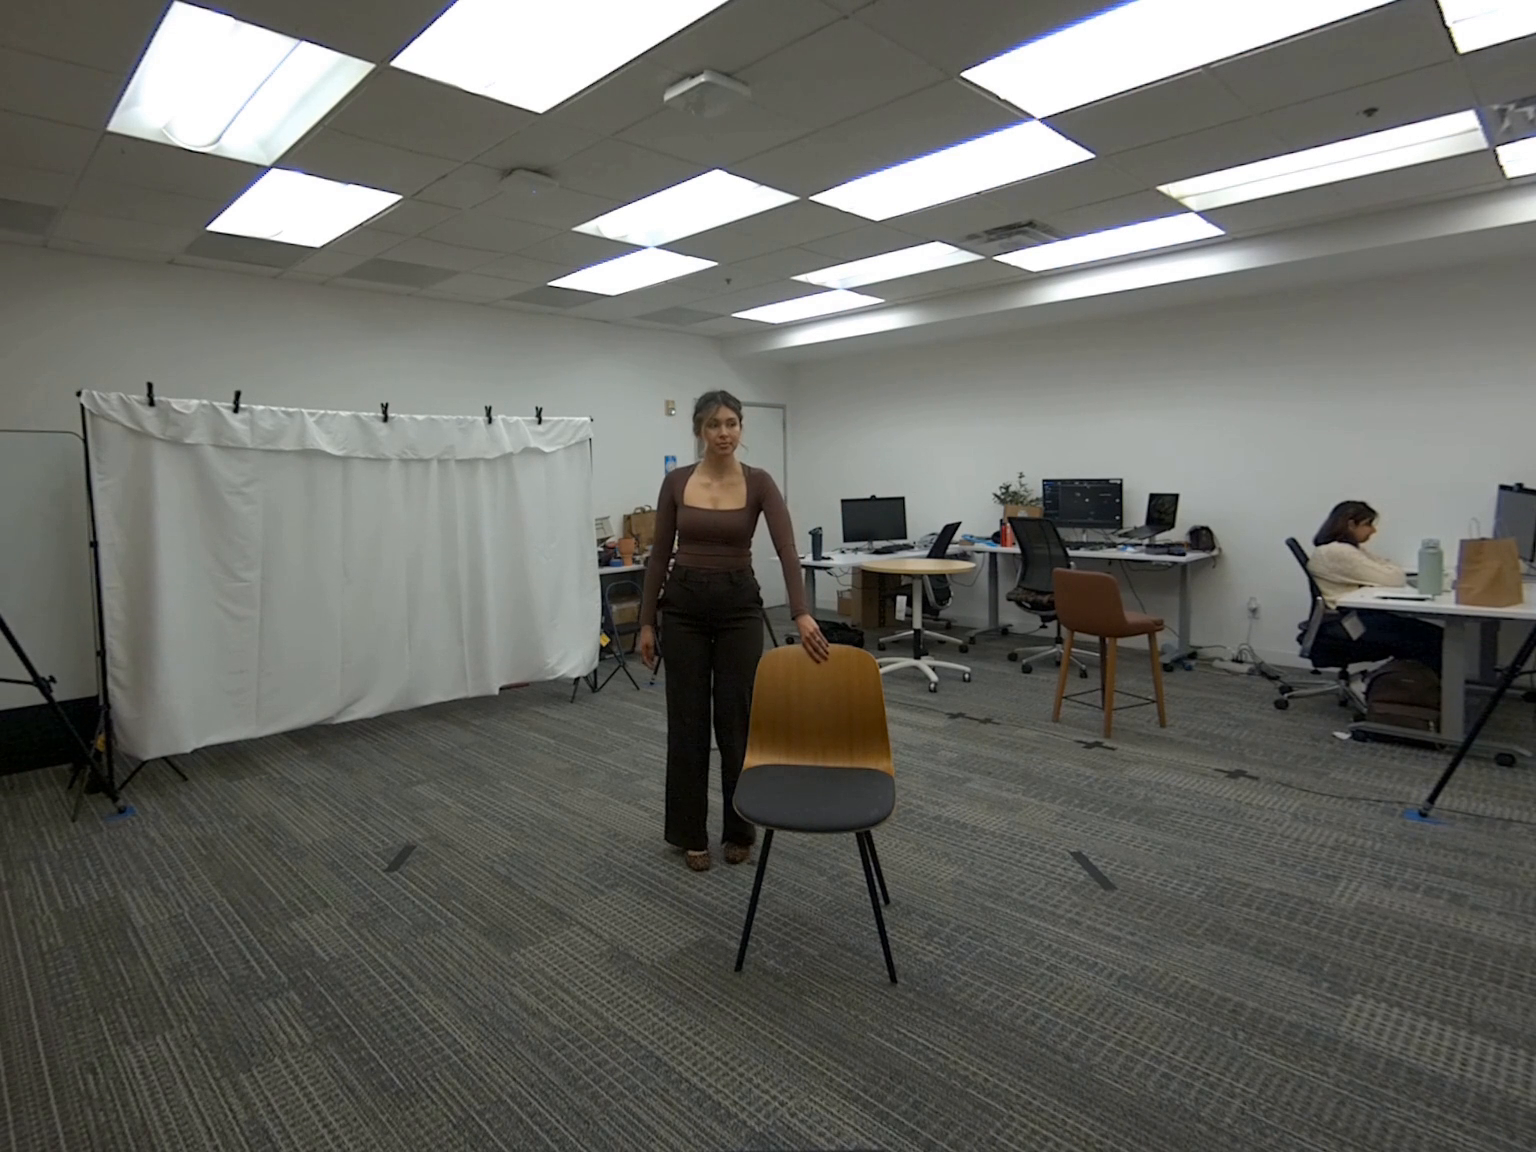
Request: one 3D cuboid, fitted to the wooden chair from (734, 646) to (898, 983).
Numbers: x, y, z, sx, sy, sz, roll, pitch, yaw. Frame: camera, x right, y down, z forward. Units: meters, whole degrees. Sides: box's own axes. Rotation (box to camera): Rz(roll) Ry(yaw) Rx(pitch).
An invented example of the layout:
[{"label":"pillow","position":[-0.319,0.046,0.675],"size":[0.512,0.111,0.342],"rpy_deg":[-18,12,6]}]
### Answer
[{"label":"wooden chair","position":[0.150,0.674,2.568],"size":[0.482,0.877,0.519],"rpy_deg":[0,0,8]}]
